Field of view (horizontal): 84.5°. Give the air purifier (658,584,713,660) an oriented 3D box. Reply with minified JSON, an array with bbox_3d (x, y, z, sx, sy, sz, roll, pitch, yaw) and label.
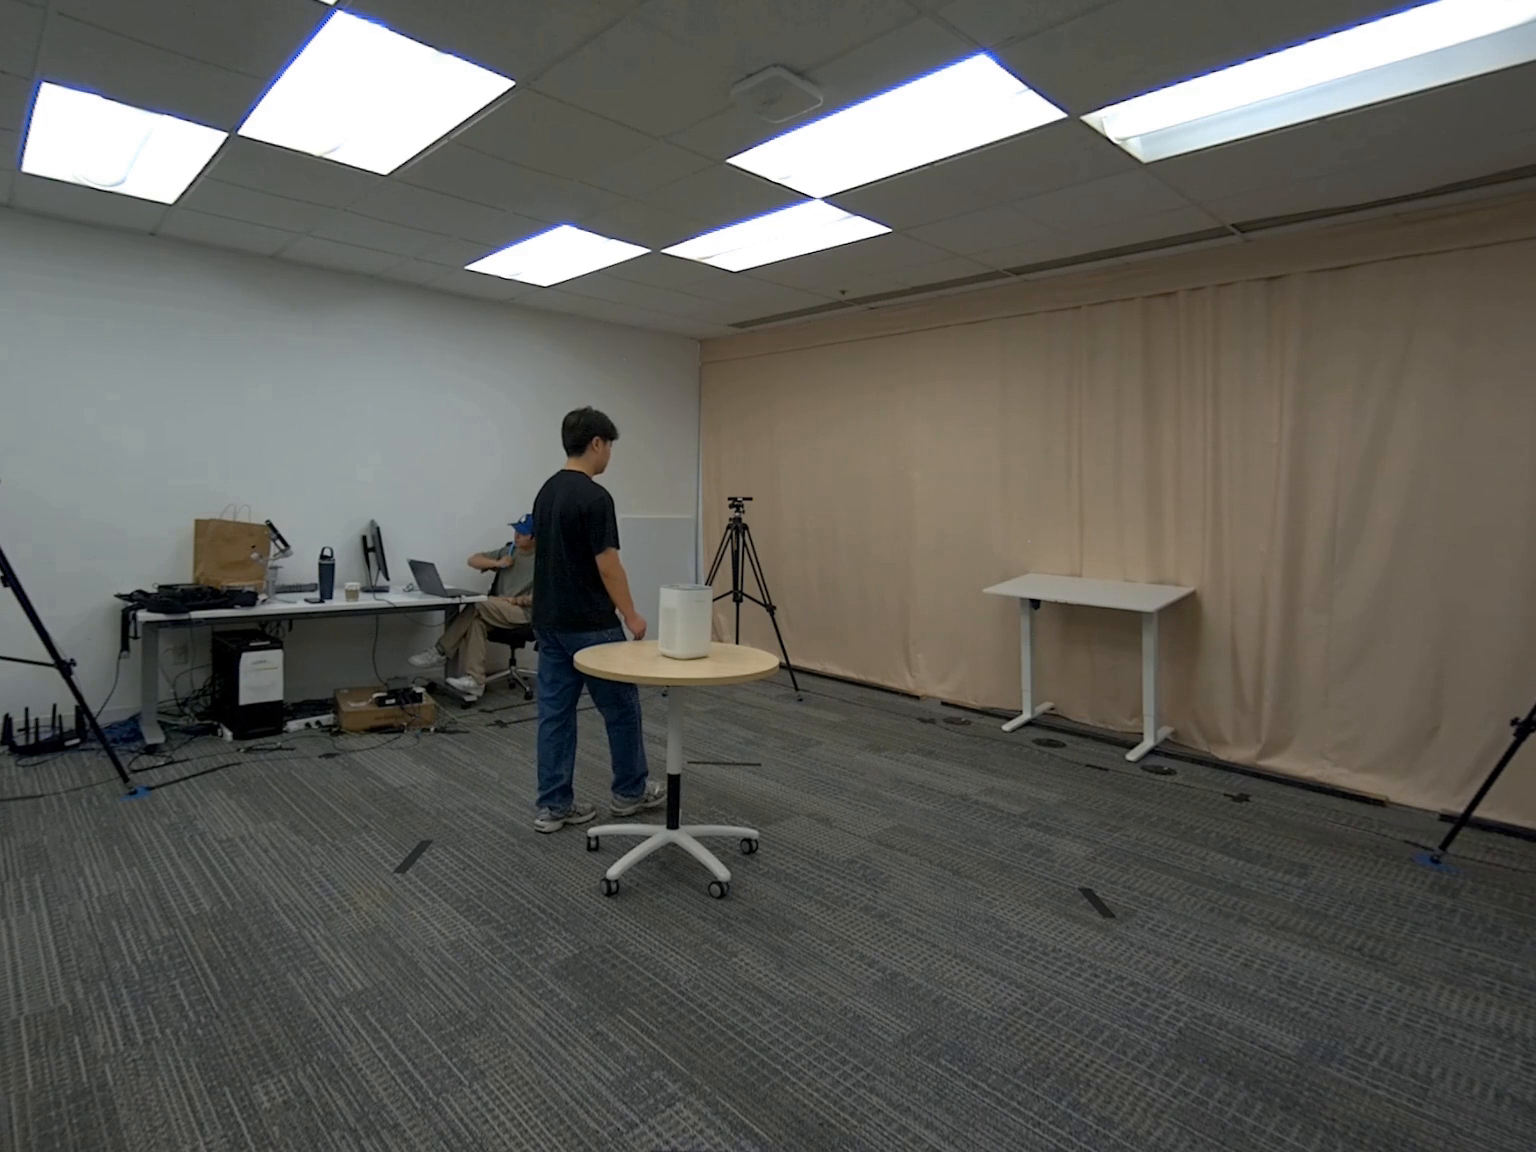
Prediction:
[{"bbox_3d":[-0.318,0.172,3.170,0.167,0.265,0.176,-2,5,-45],"label":"air purifier"}]
